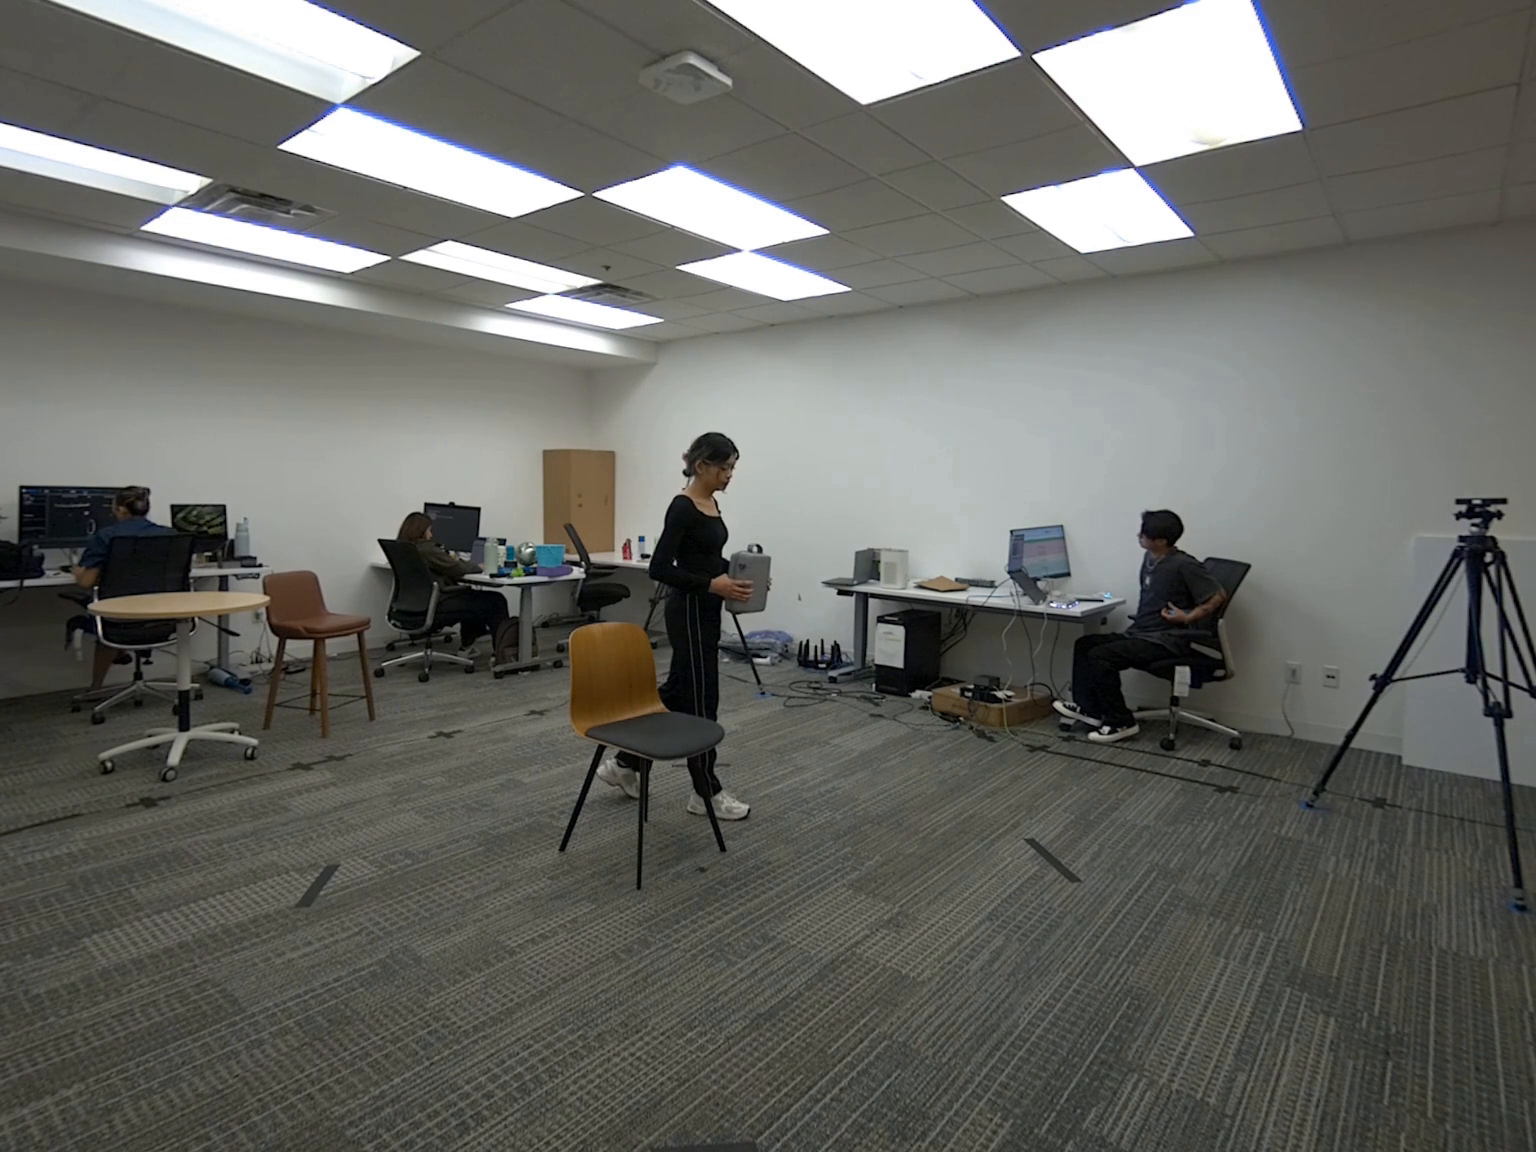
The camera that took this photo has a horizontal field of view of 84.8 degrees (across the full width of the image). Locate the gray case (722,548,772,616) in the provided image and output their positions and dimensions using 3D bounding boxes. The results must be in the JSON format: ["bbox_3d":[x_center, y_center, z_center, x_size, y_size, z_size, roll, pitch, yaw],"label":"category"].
[{"bbox_3d":[-0.098,0.018,3.553,0.107,0.260,0.251,8,3,21],"label":"gray case"}]
